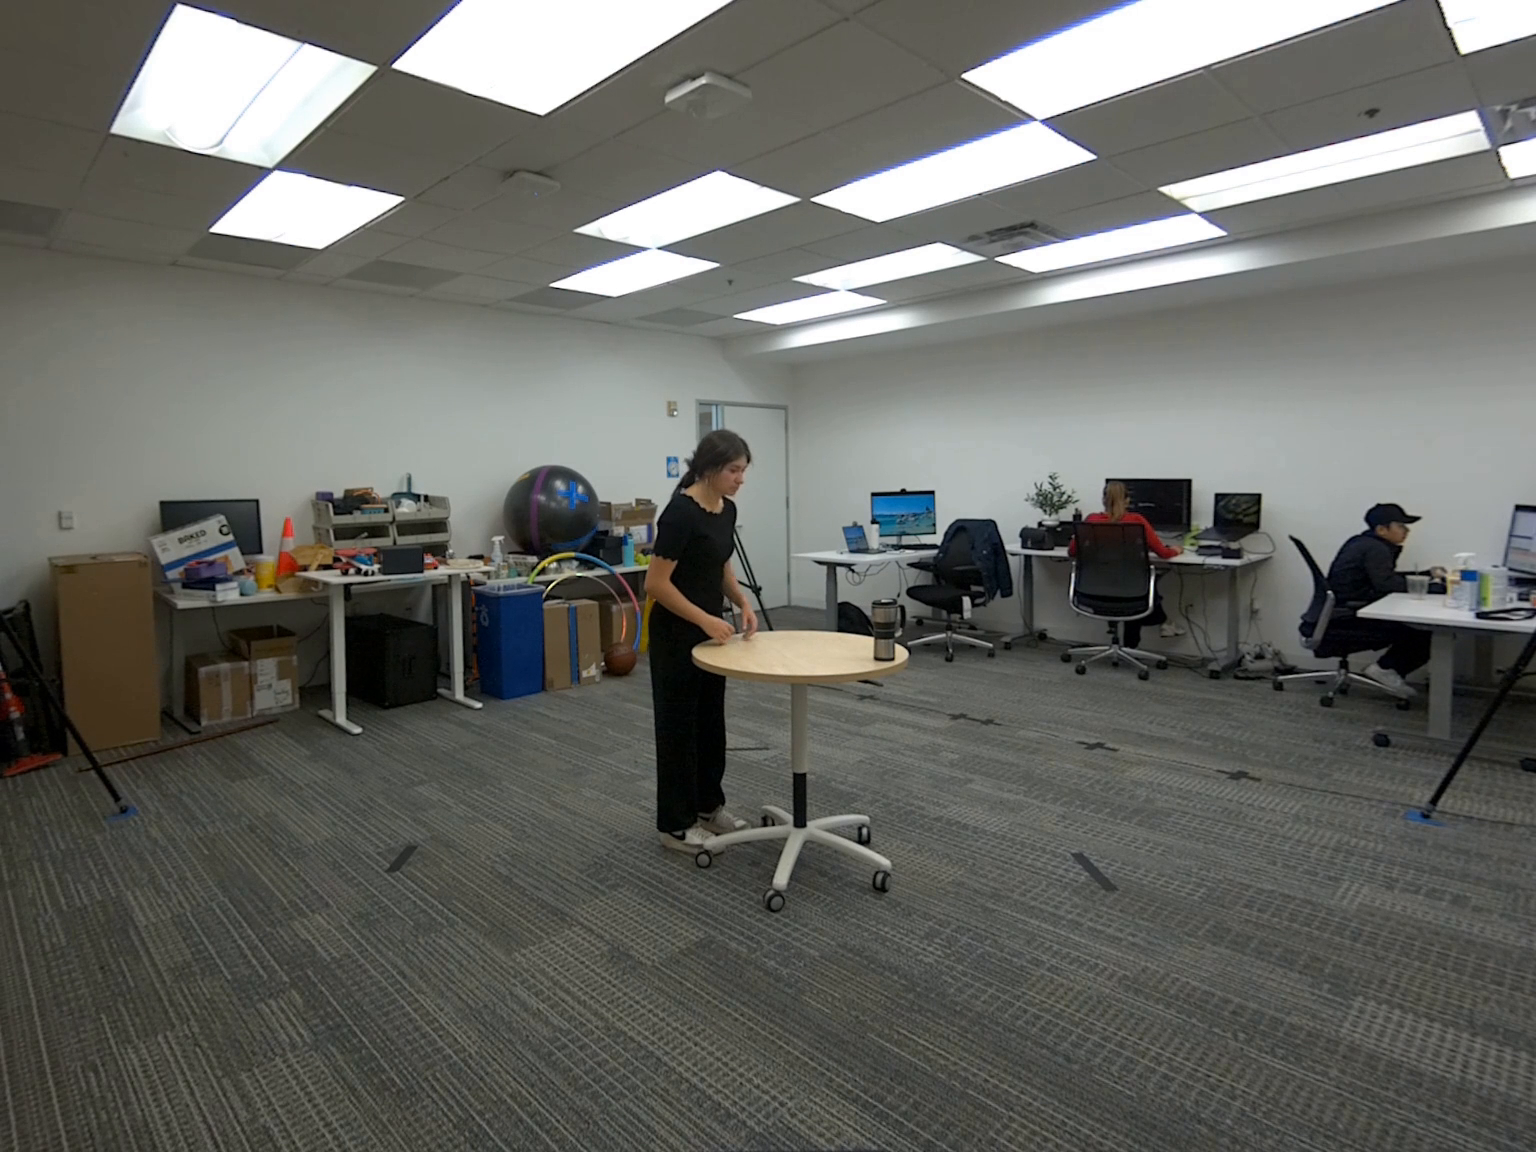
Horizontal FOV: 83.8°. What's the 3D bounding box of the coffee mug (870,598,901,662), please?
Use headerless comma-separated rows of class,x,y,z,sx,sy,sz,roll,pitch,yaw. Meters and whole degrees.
coffee mug,0.419,0.182,2.877,0.124,0.203,0.086,-4,-2,15
